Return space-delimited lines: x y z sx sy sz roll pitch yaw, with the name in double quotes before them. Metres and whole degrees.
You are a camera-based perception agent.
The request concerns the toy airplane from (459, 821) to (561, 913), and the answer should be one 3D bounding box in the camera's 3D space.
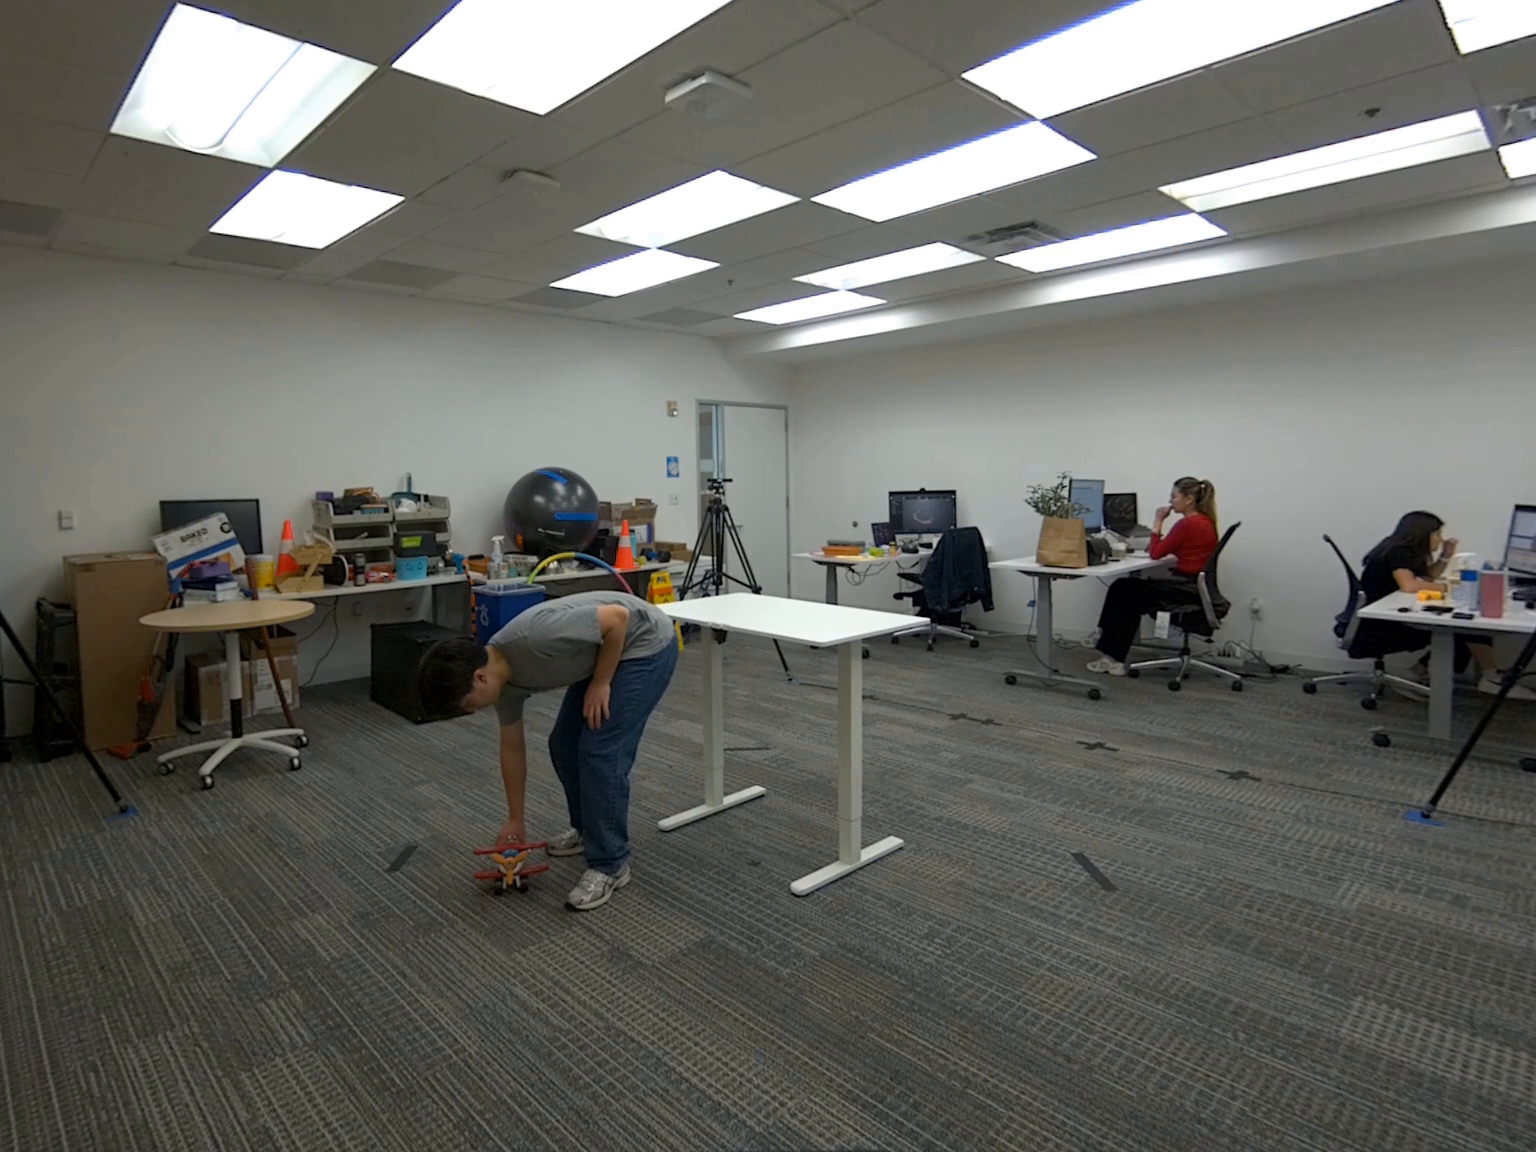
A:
"toy airplane" -0.902 1.004 2.989 0.245 0.155 0.267 -7 8 -40
